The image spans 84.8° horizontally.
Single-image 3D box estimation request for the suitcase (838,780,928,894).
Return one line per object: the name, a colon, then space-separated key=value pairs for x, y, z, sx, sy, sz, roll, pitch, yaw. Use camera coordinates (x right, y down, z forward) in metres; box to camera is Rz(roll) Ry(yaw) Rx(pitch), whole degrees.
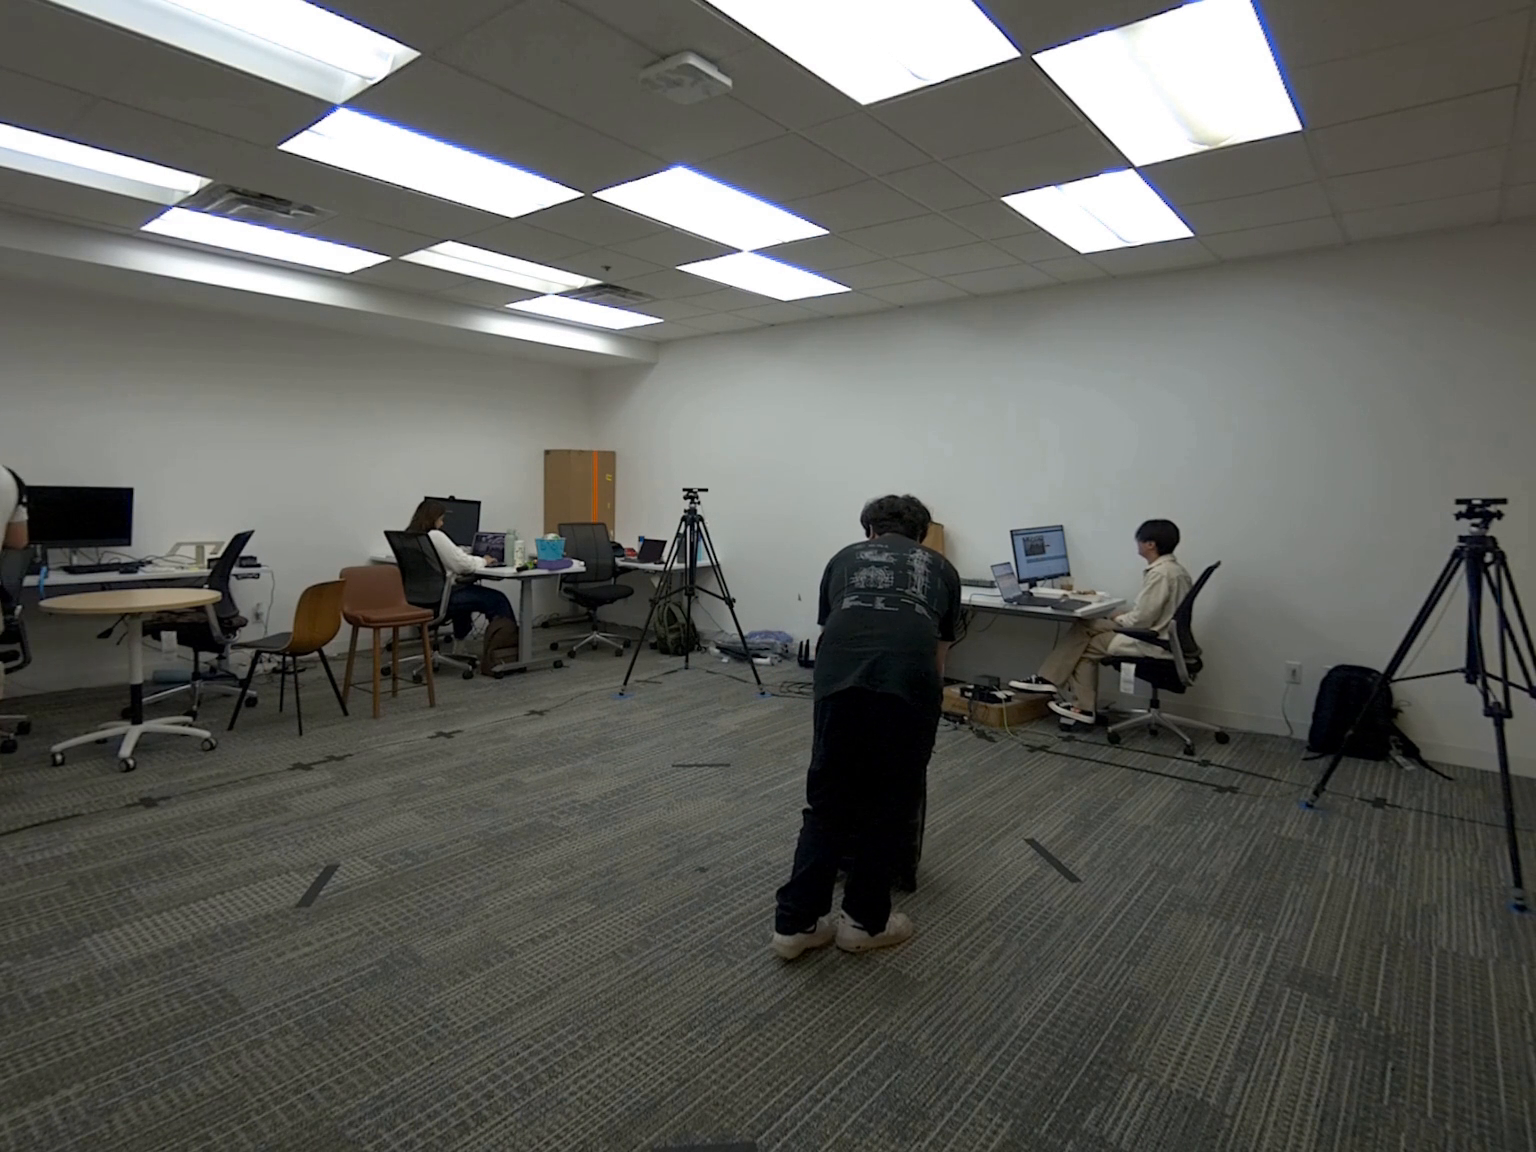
suitcase: x=0.375 y=0.807 z=3.084 sx=0.381 sy=0.546 sz=0.246 roll=3 pitch=6 yaw=14
